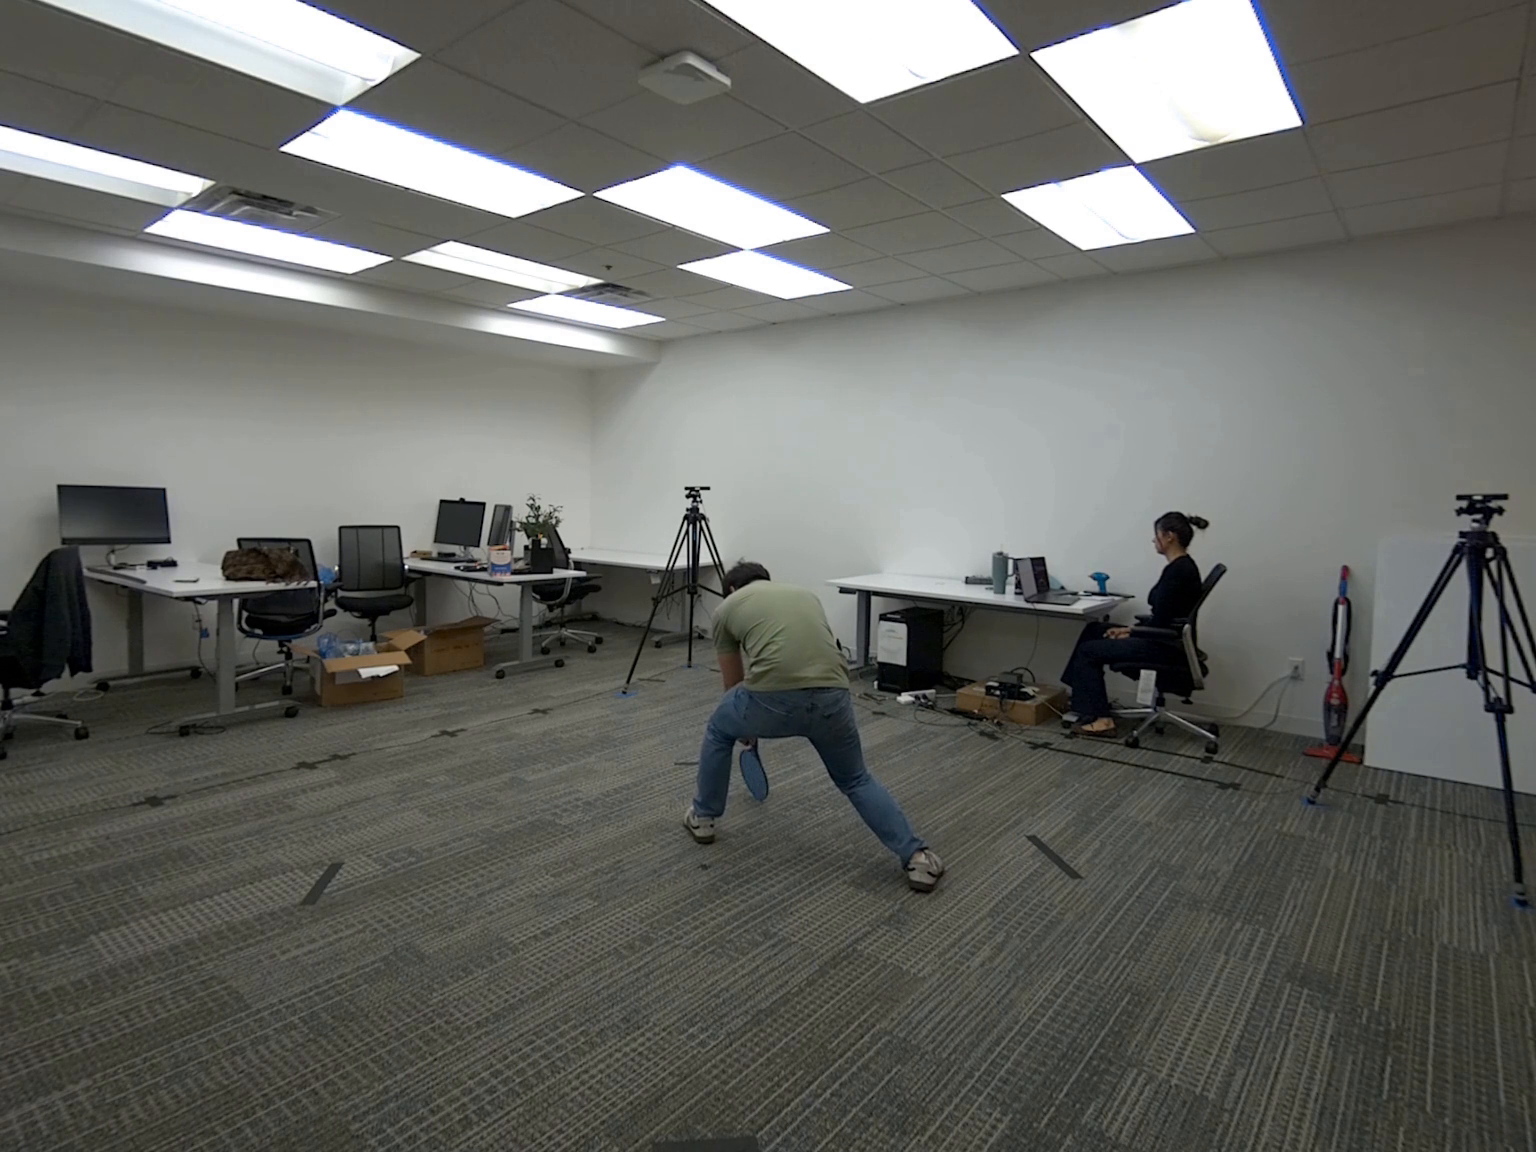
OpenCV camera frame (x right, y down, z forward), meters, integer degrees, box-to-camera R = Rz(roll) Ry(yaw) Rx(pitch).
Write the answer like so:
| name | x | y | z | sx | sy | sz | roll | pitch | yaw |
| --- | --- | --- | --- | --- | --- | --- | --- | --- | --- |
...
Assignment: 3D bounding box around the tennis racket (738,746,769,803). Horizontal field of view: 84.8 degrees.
| name | x | y | z | sx | sy | sz | roll | pitch | yaw |
| --- | --- | --- | --- | --- | --- | --- | --- | --- | --- |
| tennis racket | -0.066 | 0.819 | 3.719 | 0.031 | 0.421 | 0.223 | -19 | 45 | -24 |
